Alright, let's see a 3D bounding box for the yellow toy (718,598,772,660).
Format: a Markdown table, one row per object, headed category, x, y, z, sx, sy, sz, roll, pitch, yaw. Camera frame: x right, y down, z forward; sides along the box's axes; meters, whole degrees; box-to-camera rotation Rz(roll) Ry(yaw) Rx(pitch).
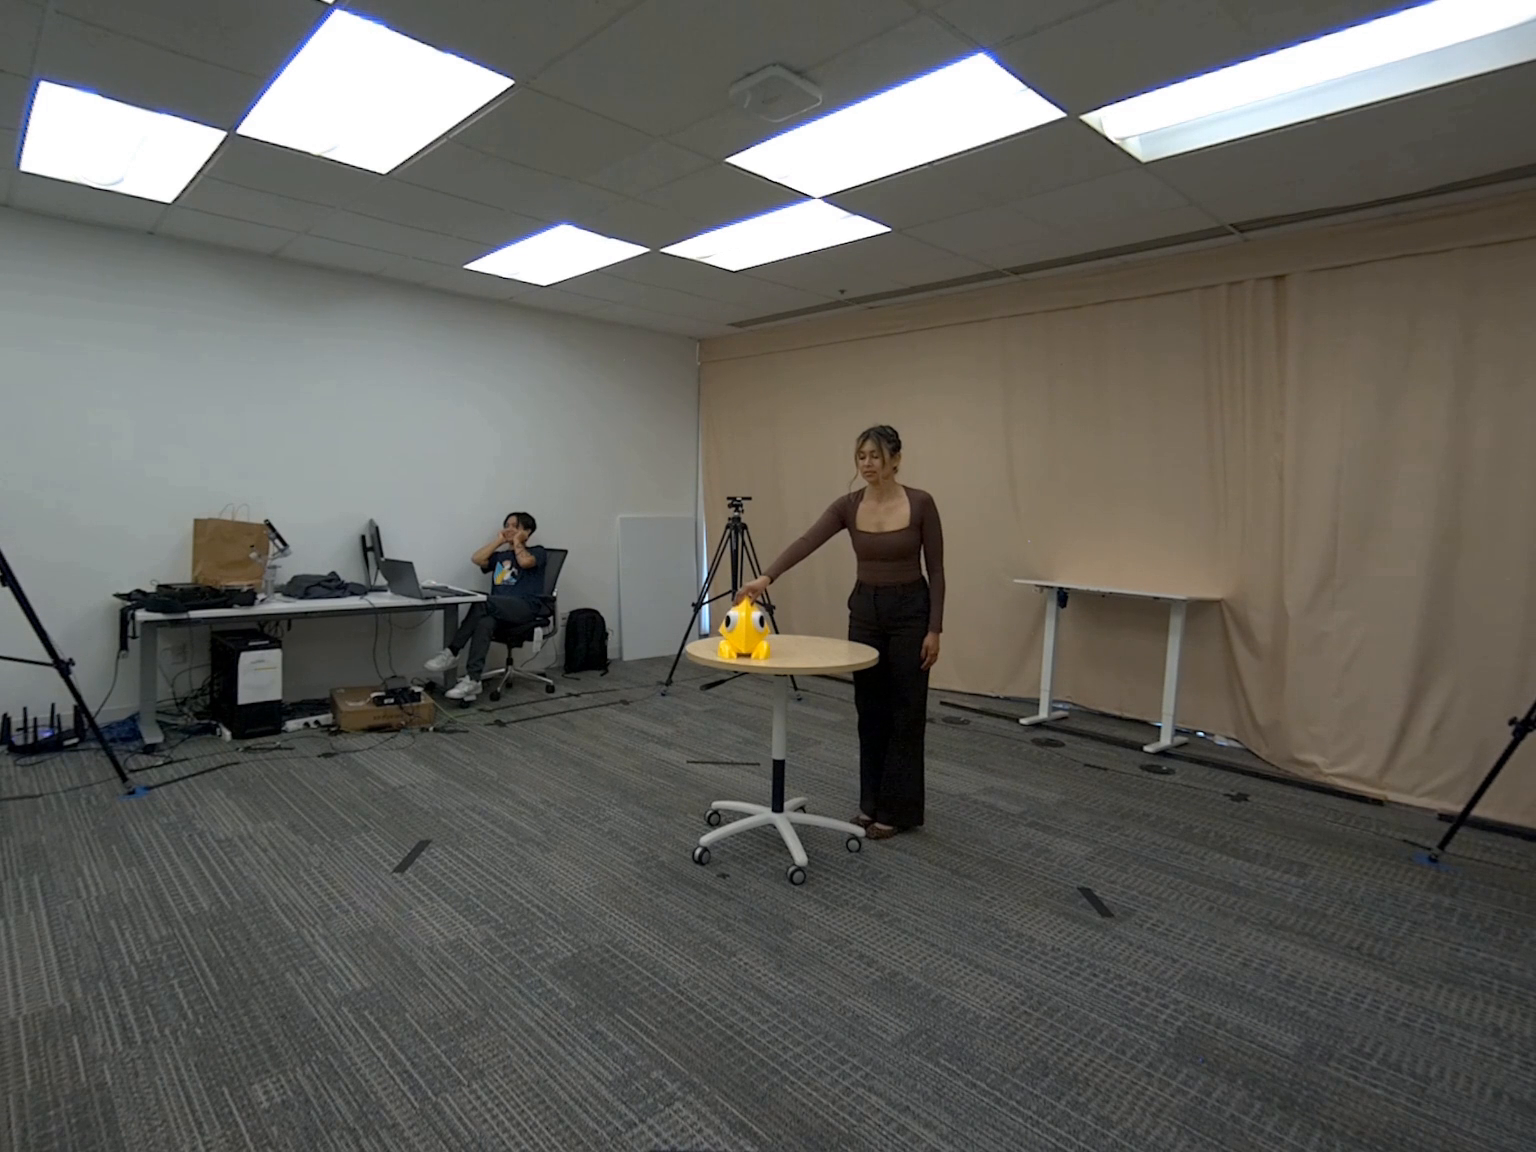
| category | x | y | z | sx | sy | sz | roll | pitch | yaw |
| --- | --- | --- | --- | --- | --- | --- | --- | --- | --- |
| yellow toy | -0.092 | 0.188 | 3.193 | 0.205 | 0.230 | 0.193 | 2 | 3 | -1 |
